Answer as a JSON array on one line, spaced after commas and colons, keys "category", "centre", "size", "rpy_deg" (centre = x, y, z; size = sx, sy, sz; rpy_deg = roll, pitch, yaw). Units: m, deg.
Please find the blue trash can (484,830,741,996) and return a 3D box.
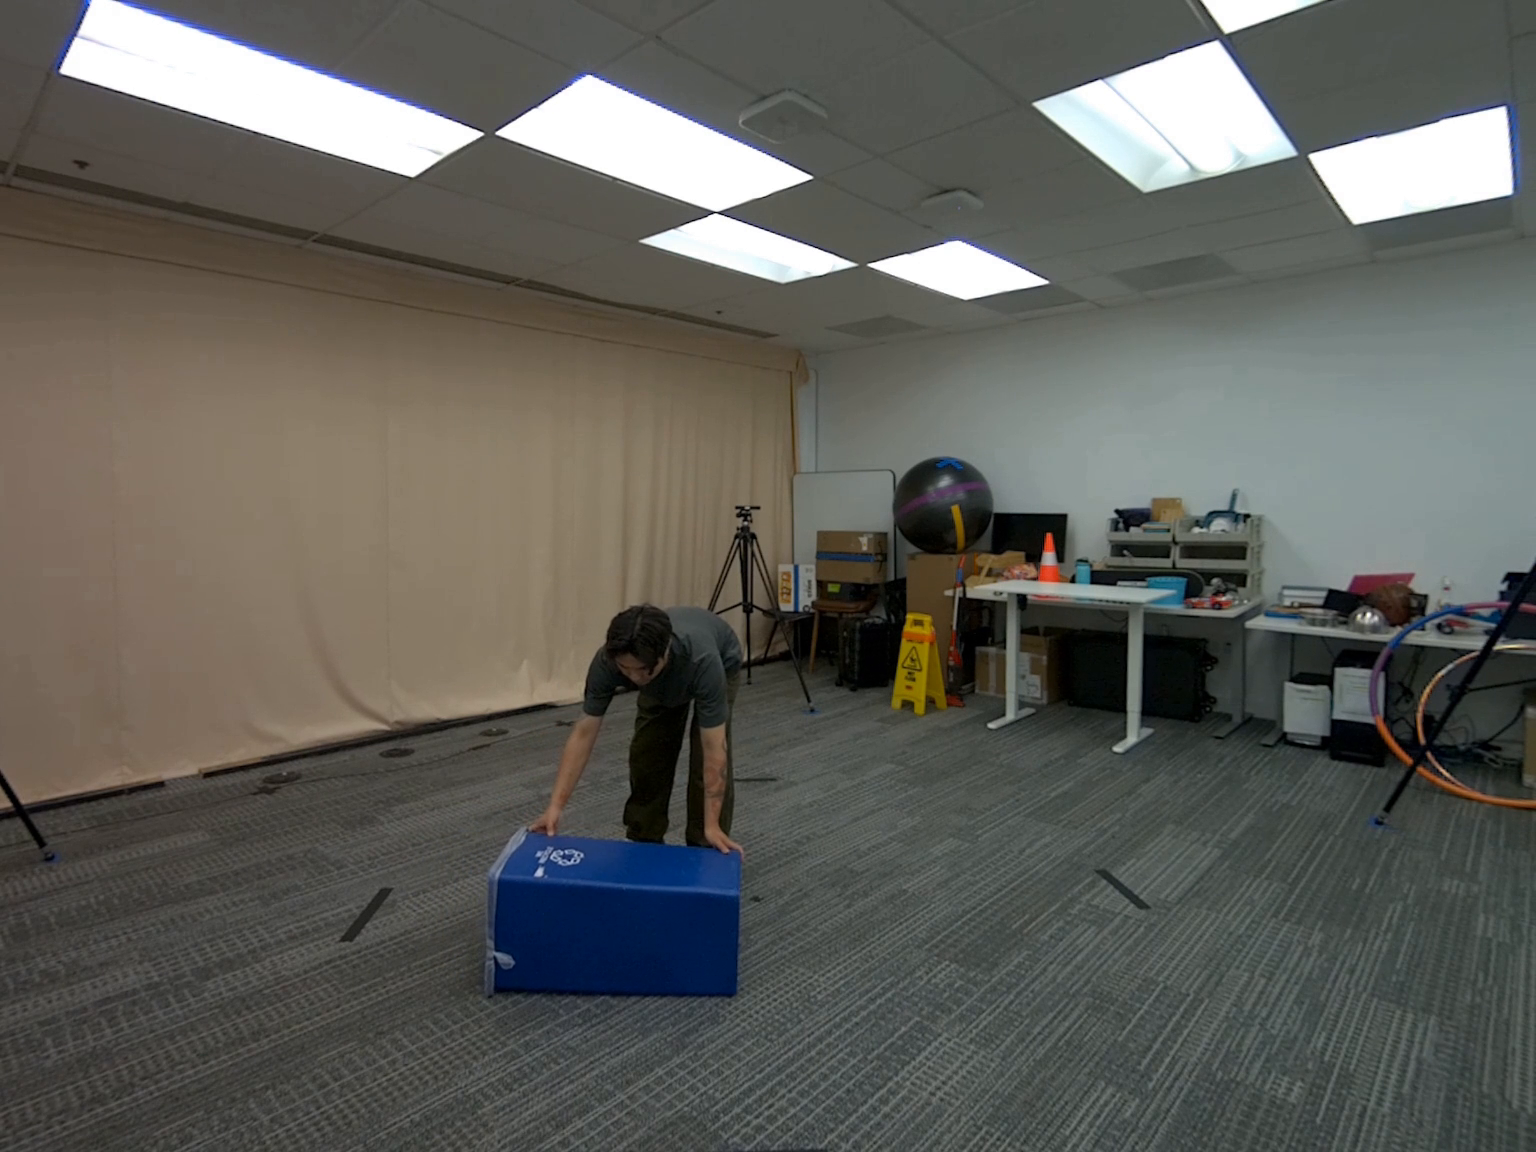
[{"category": "blue trash can", "centre": [-0.440, 1.009, 2.535], "size": [0.715, 0.373, 0.378], "rpy_deg": [1, 3, 1]}]
